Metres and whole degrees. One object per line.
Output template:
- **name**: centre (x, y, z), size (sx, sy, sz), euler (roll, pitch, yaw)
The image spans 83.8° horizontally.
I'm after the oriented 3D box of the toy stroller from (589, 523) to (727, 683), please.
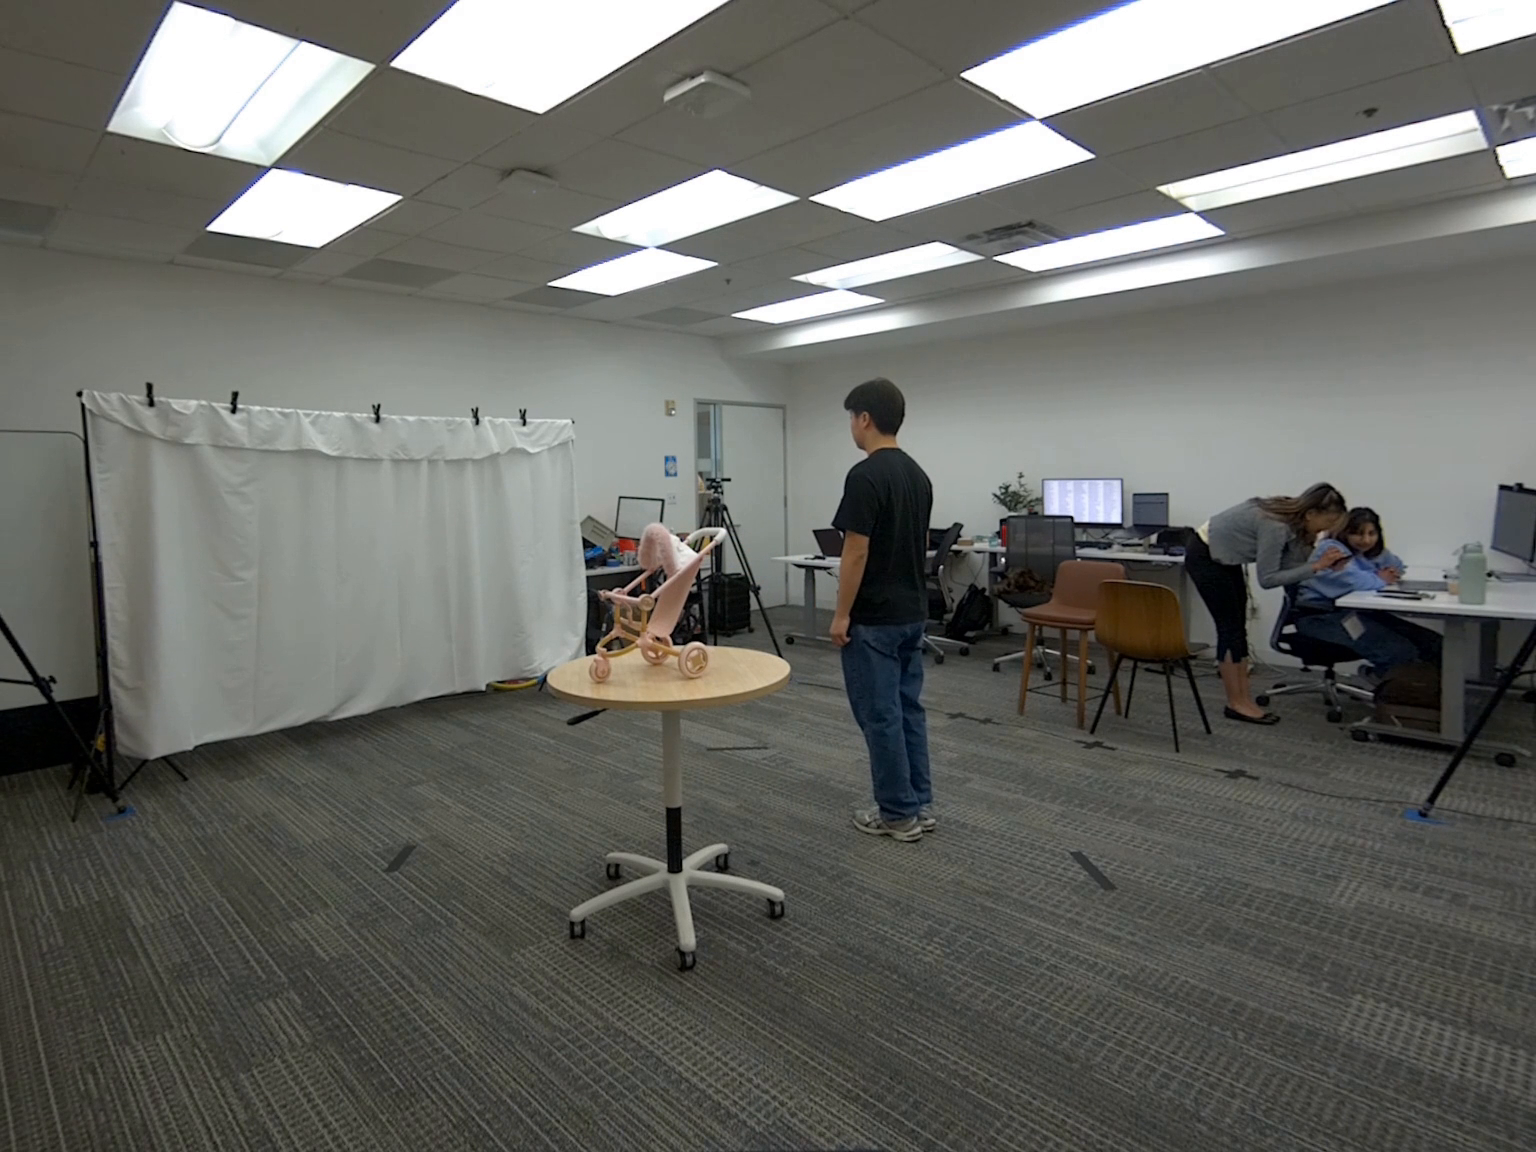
- **toy stroller**: centre (-0.353, 0.079, 2.649), size (0.332, 0.536, 0.289), euler (13, -3, -28)
